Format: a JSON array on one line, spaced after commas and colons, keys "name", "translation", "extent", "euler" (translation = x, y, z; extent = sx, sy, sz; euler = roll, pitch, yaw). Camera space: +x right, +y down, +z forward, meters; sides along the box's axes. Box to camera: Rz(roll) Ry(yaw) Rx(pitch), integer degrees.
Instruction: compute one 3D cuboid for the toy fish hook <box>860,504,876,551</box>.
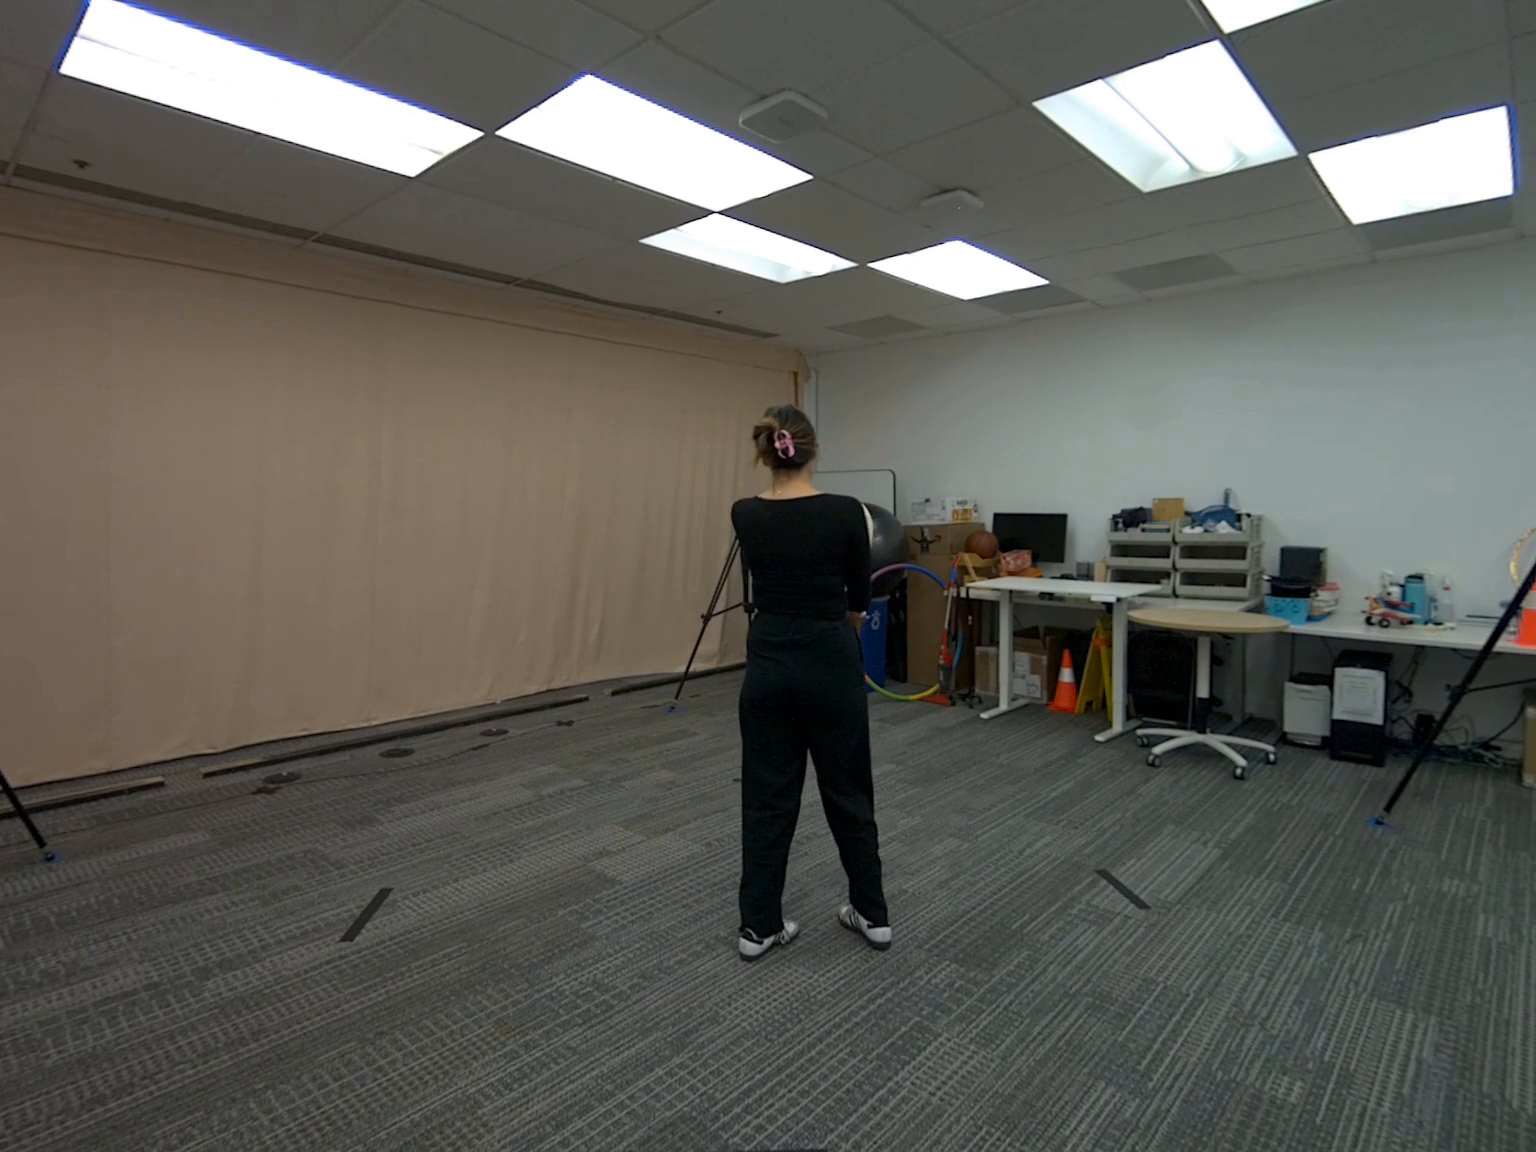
[{"name": "toy fish hook", "translation": [0.277, -0.005, 2.982], "extent": [0.232, 0.507, 0.047], "euler": [2, -3, 44]}]
